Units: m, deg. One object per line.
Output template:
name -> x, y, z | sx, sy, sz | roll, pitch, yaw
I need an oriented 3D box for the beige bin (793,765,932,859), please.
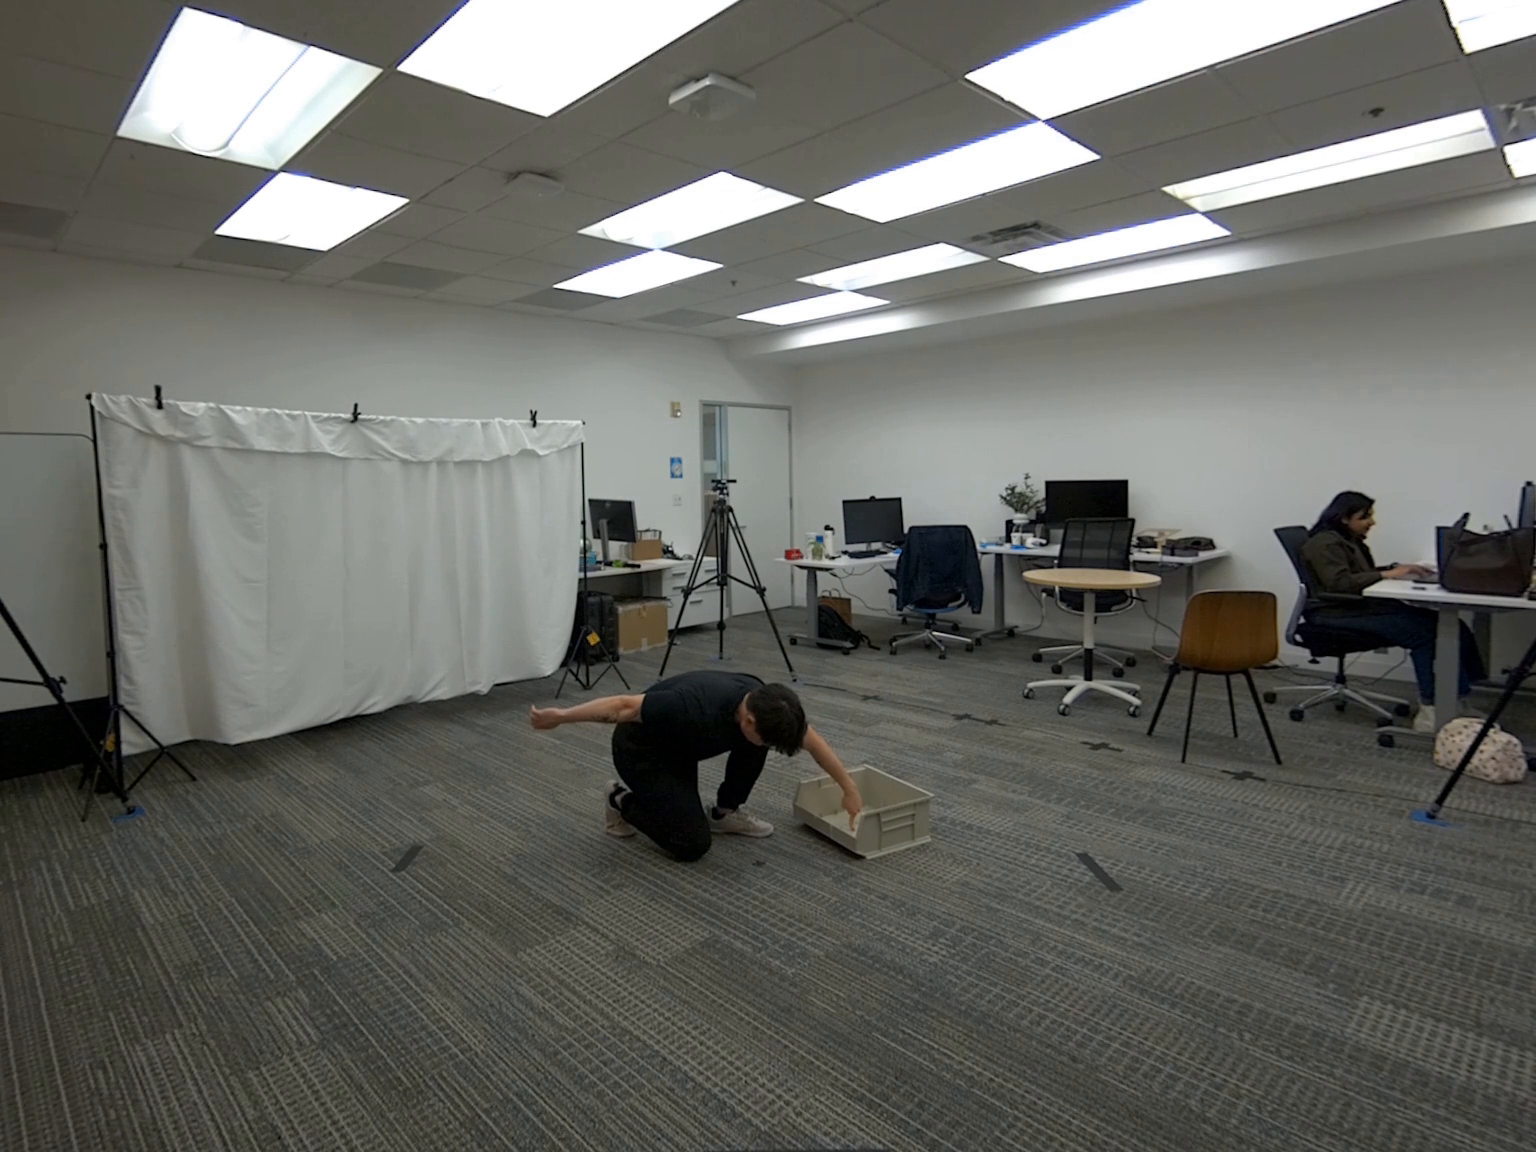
beige bin -> 0.364, 0.916, 3.358 | 0.368, 0.188, 0.434 | -4, 6, -31
